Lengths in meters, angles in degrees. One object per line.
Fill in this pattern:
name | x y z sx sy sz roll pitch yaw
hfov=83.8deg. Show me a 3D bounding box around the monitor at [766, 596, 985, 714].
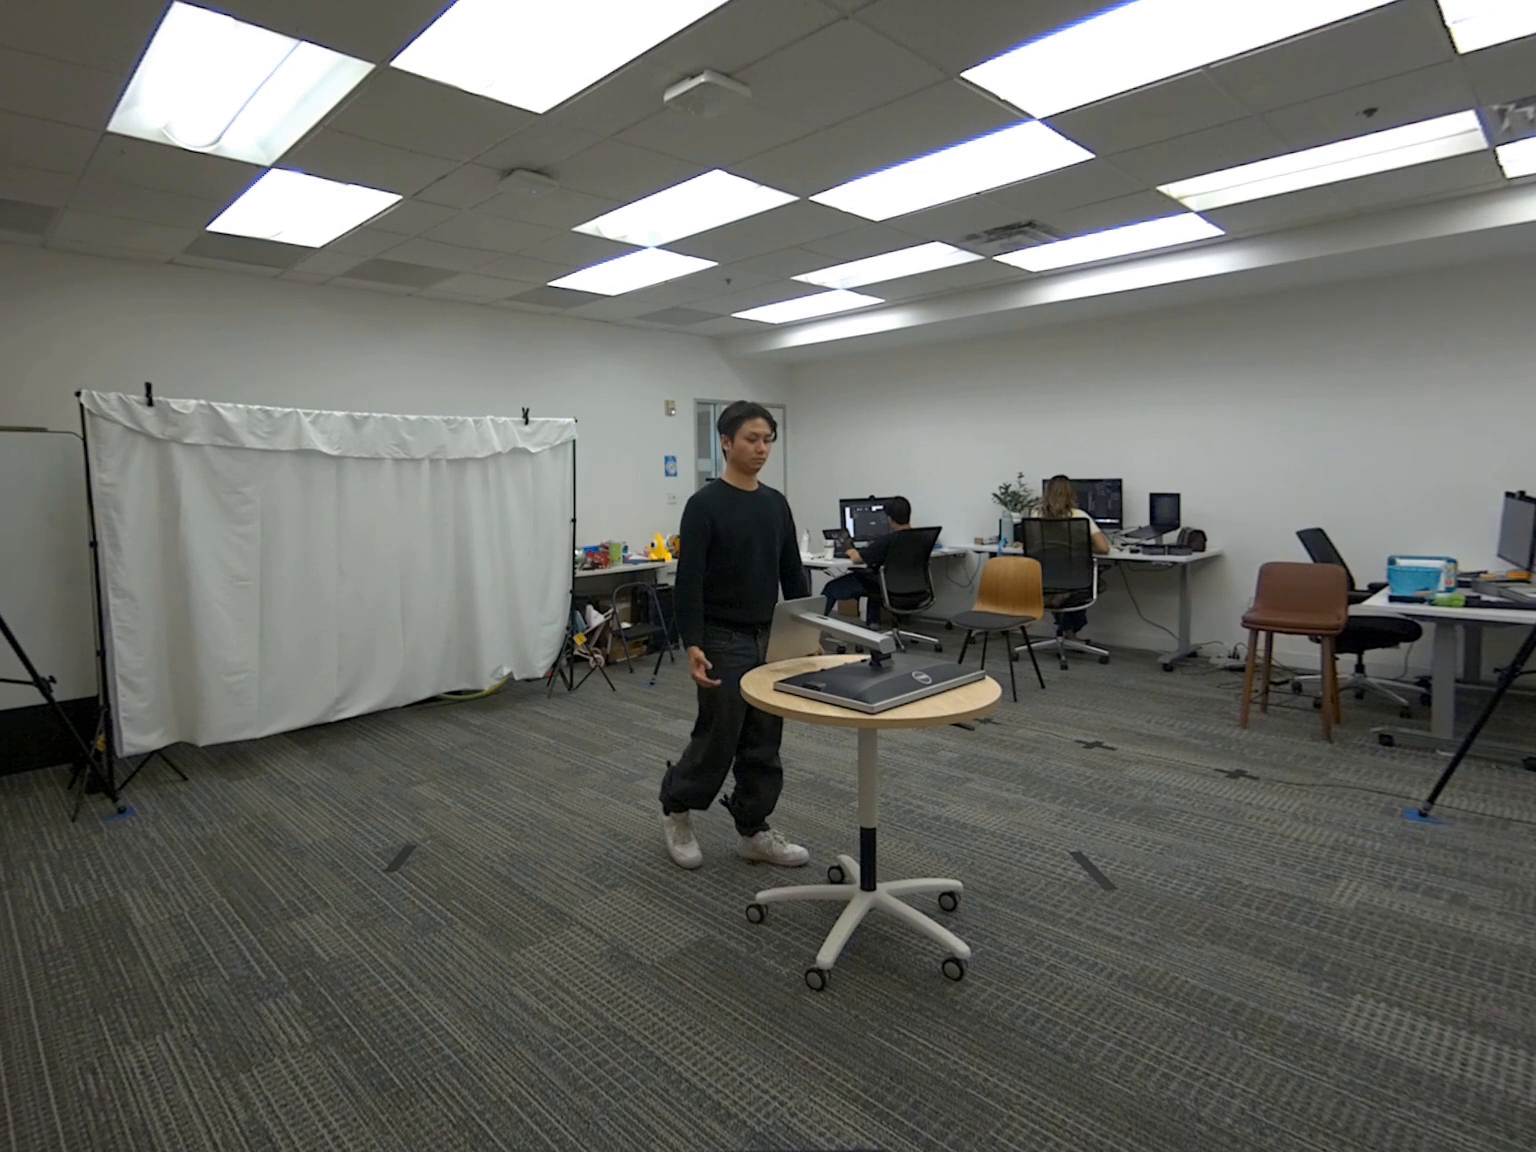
monitor | 0.296 0.248 2.578 0.526 0.185 0.542 -9 24 -42
